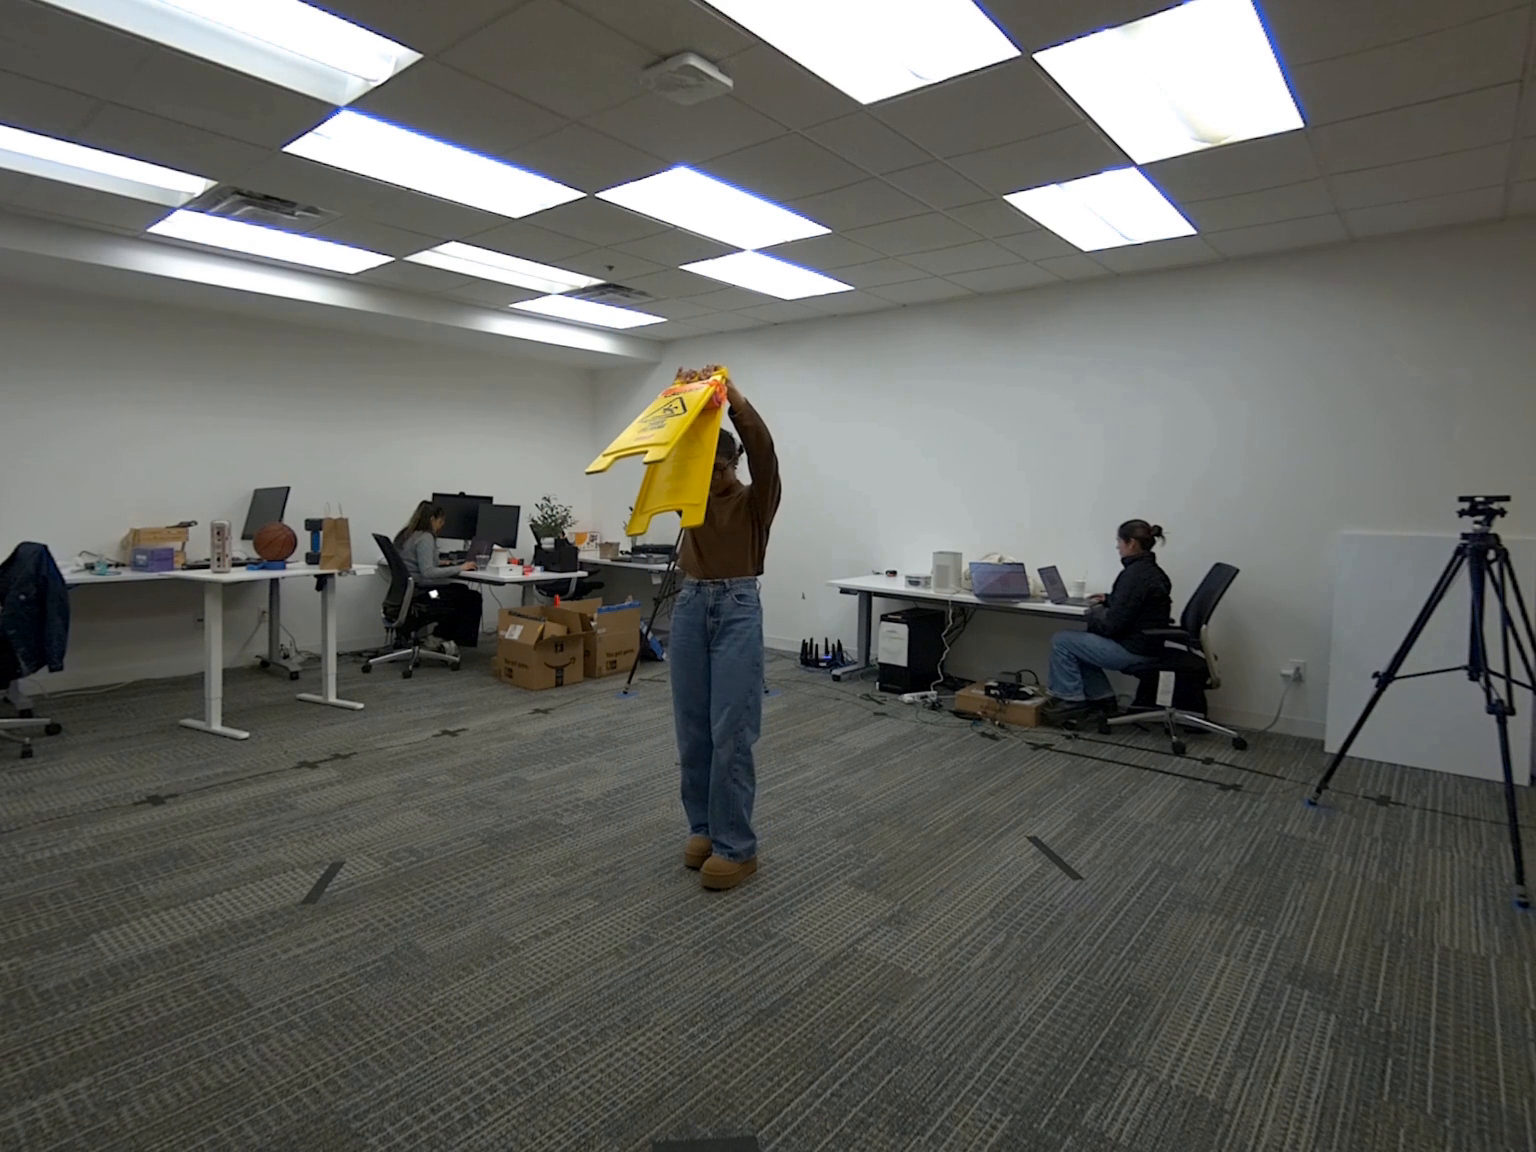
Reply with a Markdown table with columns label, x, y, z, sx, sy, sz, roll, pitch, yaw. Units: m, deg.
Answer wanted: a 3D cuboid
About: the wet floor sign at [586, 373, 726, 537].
| label | x | y | z | sx | sy | sz | roll | pitch | yaw |
| --- | --- | --- | --- | --- | --- | --- | --- | --- | --- |
| wet floor sign | -0.303 | -0.465 | 2.722 | 0.288 | 0.657 | 0.278 | -7 | -45 | 25 |
